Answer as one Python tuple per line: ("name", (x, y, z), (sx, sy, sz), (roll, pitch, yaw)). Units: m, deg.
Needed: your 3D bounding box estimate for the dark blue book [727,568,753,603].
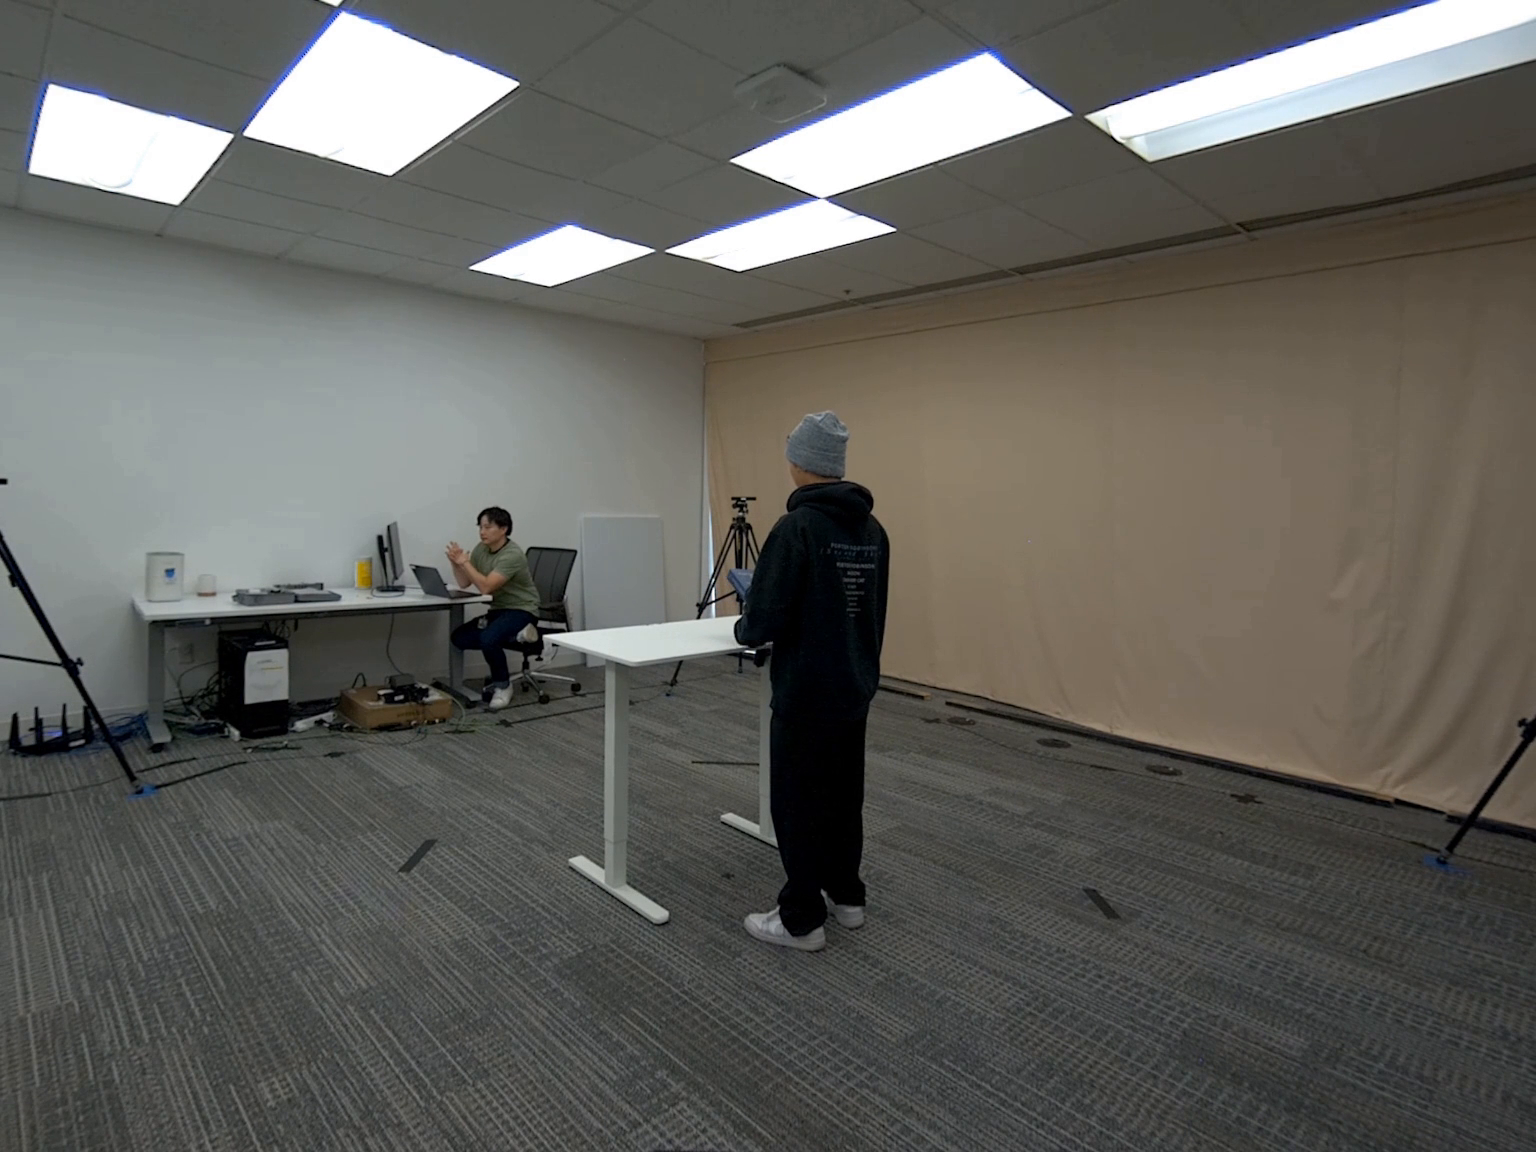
("dark blue book", (-0.031, 0.054, 3.040), (0.160, 0.045, 0.253), (3, 26, -29))
